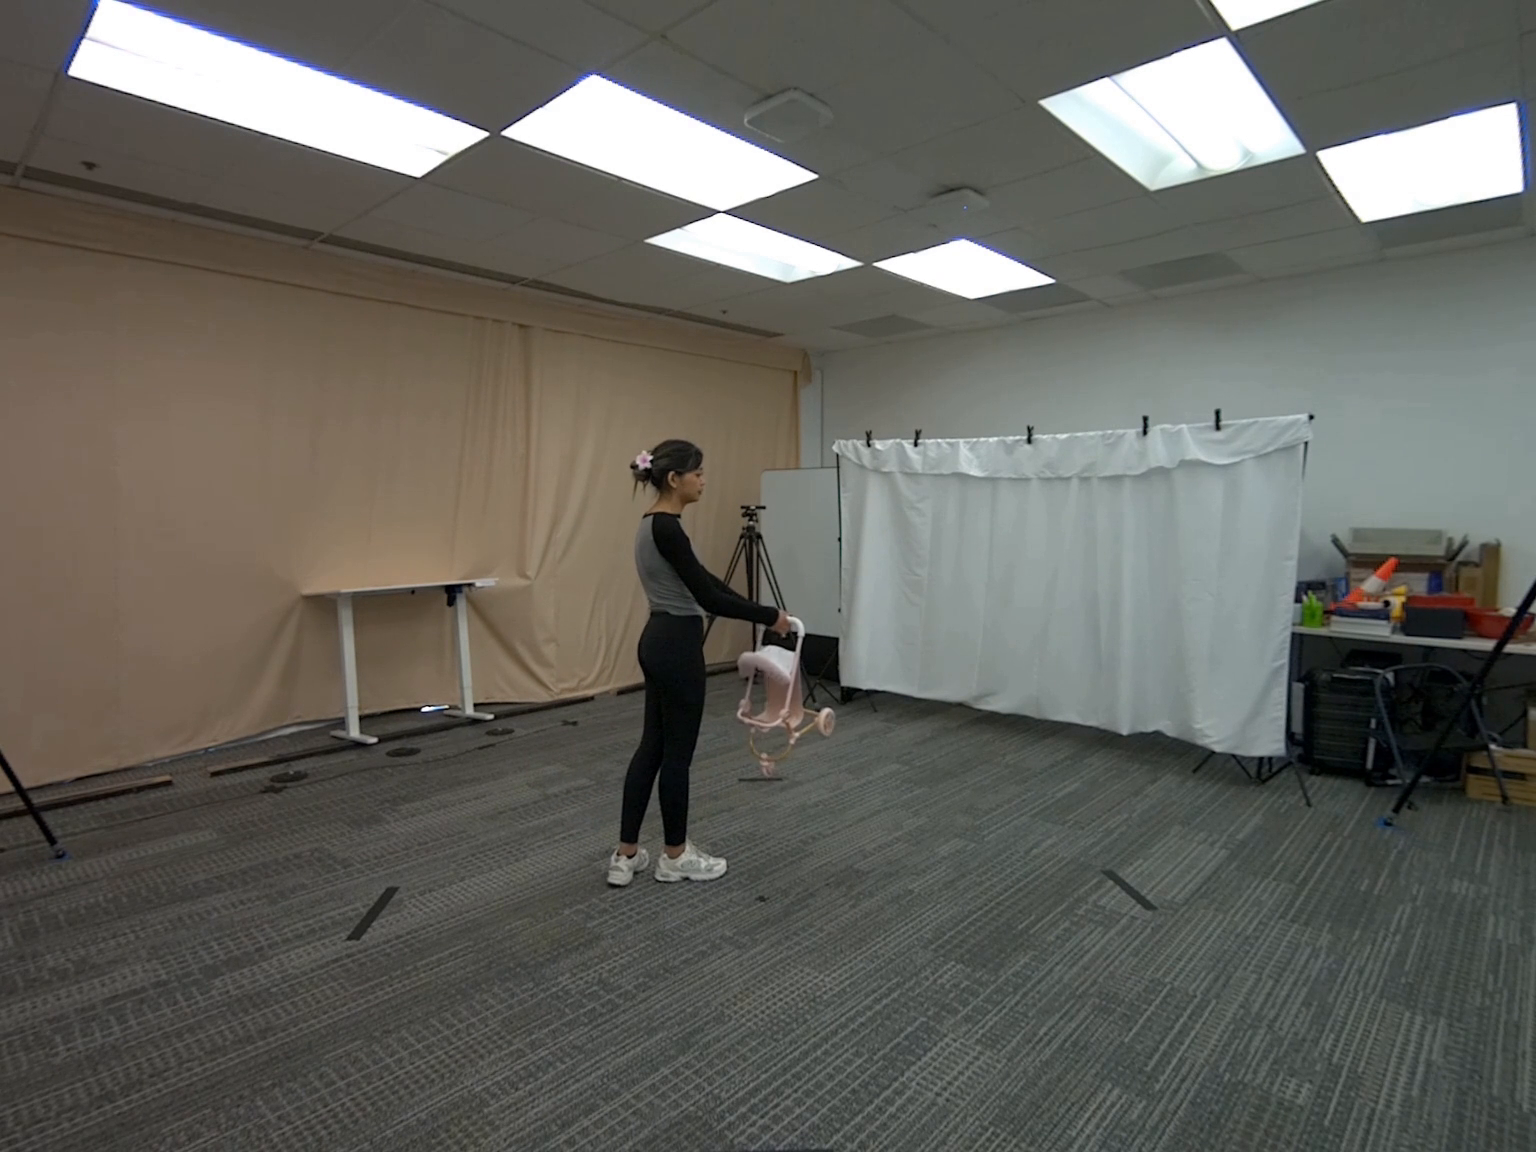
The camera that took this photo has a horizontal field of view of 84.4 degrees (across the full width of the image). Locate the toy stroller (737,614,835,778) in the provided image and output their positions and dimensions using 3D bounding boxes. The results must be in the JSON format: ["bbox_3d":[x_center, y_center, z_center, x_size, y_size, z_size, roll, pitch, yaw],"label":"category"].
[{"bbox_3d":[0.031,0.468,3.189,0.291,0.525,0.336,10,32,43],"label":"toy stroller"}]
